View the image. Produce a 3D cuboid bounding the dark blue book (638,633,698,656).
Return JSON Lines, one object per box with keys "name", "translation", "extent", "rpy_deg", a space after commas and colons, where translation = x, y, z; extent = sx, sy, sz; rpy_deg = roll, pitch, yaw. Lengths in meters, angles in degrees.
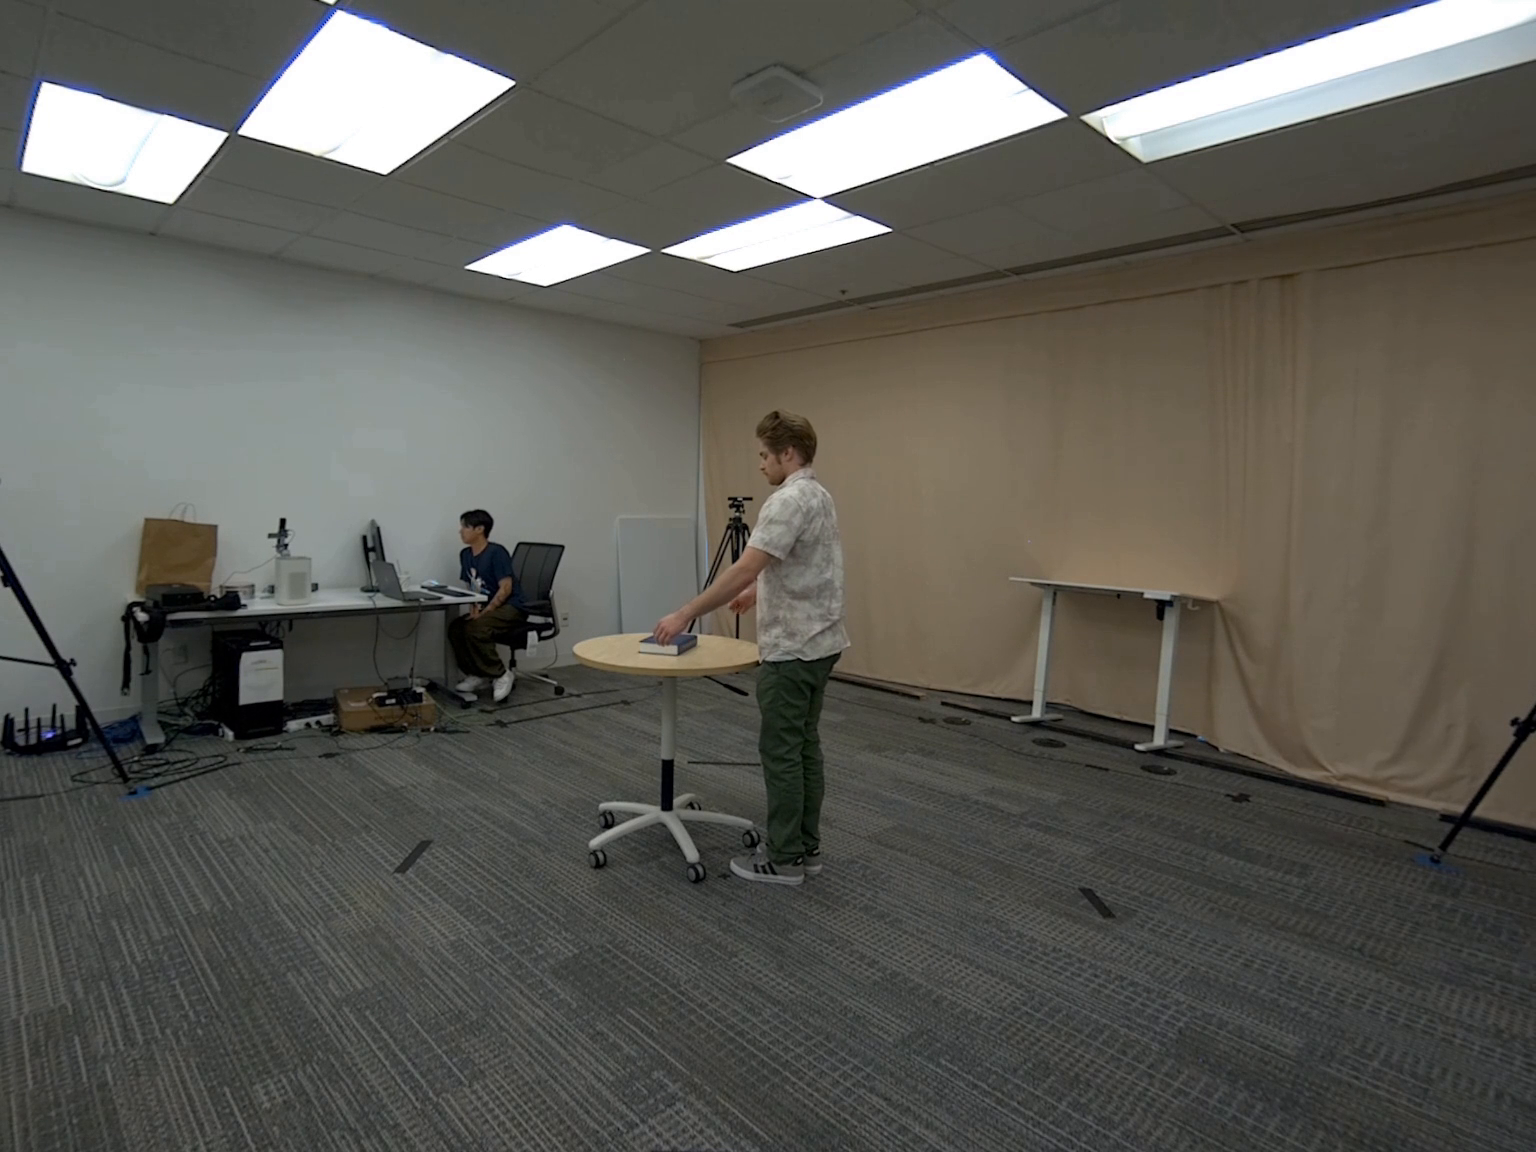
{"name": "dark blue book", "translation": [-0.401, 0.266, 3.339], "extent": [0.165, 0.045, 0.243], "rpy_deg": [2, 5, 13]}
